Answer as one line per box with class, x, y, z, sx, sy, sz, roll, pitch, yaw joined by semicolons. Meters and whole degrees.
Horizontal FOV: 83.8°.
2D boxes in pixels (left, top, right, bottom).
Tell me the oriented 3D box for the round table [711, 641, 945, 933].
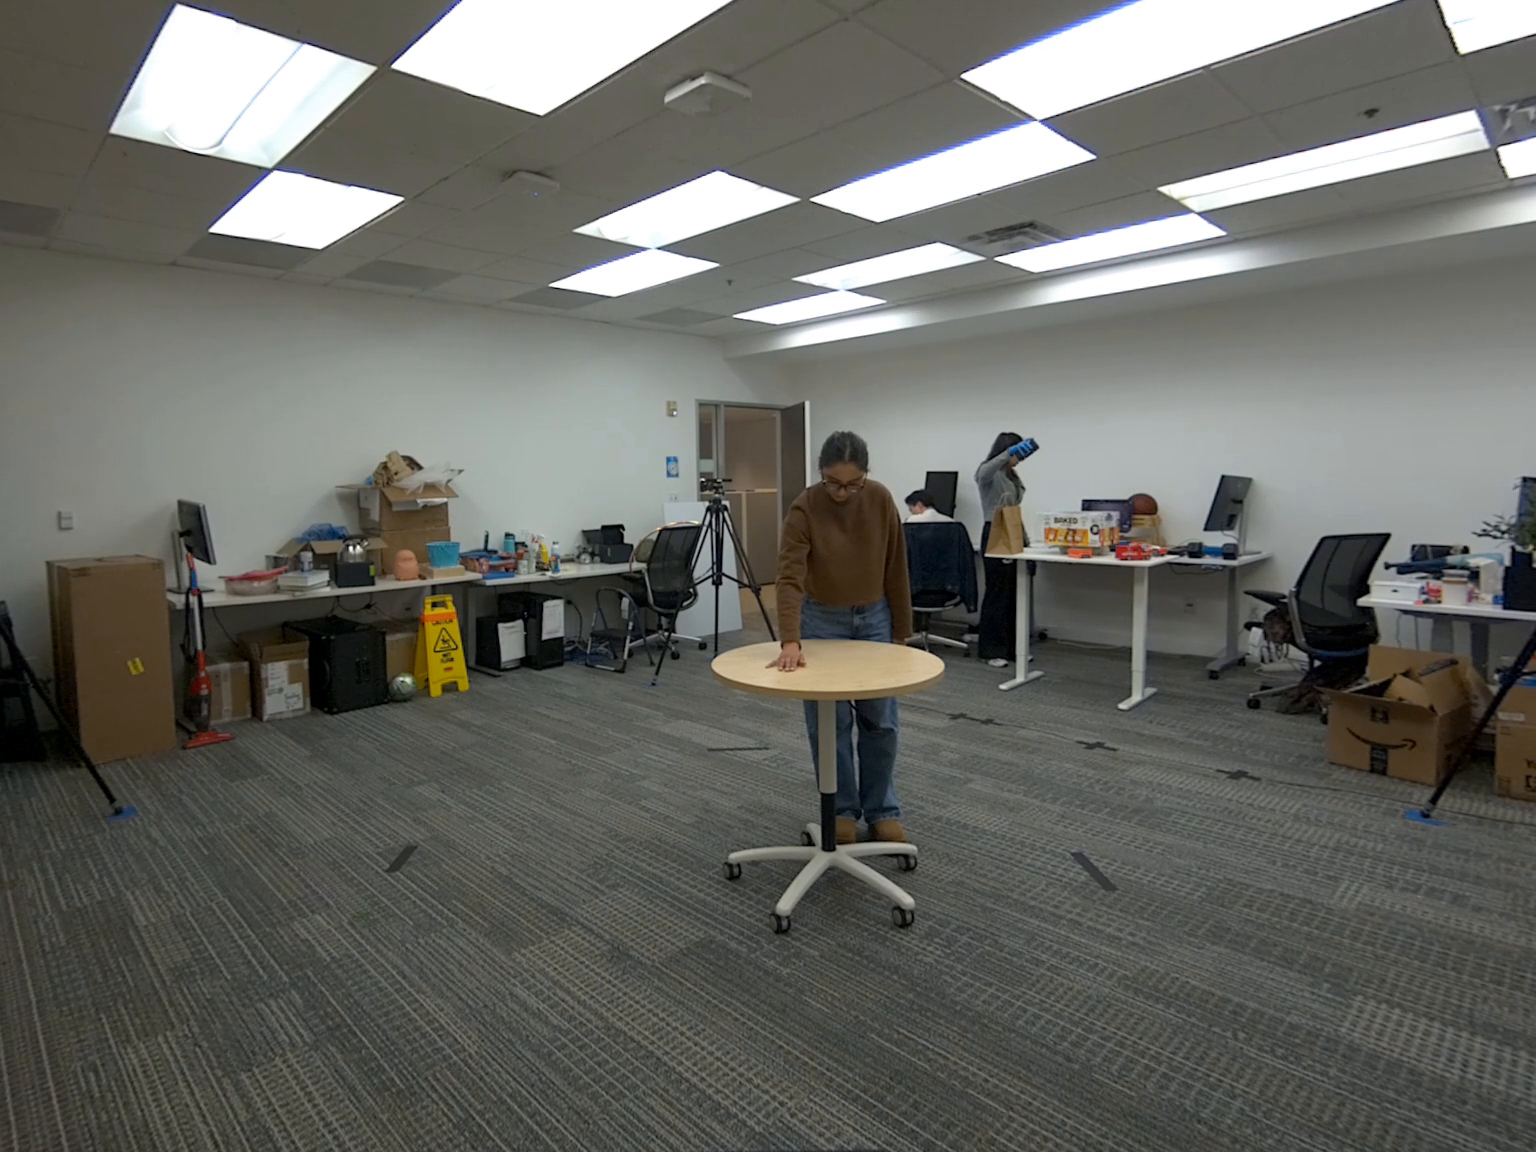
round table;0.206;0.681;2.870;0.763;0.790;0.768;-1;5;-2
